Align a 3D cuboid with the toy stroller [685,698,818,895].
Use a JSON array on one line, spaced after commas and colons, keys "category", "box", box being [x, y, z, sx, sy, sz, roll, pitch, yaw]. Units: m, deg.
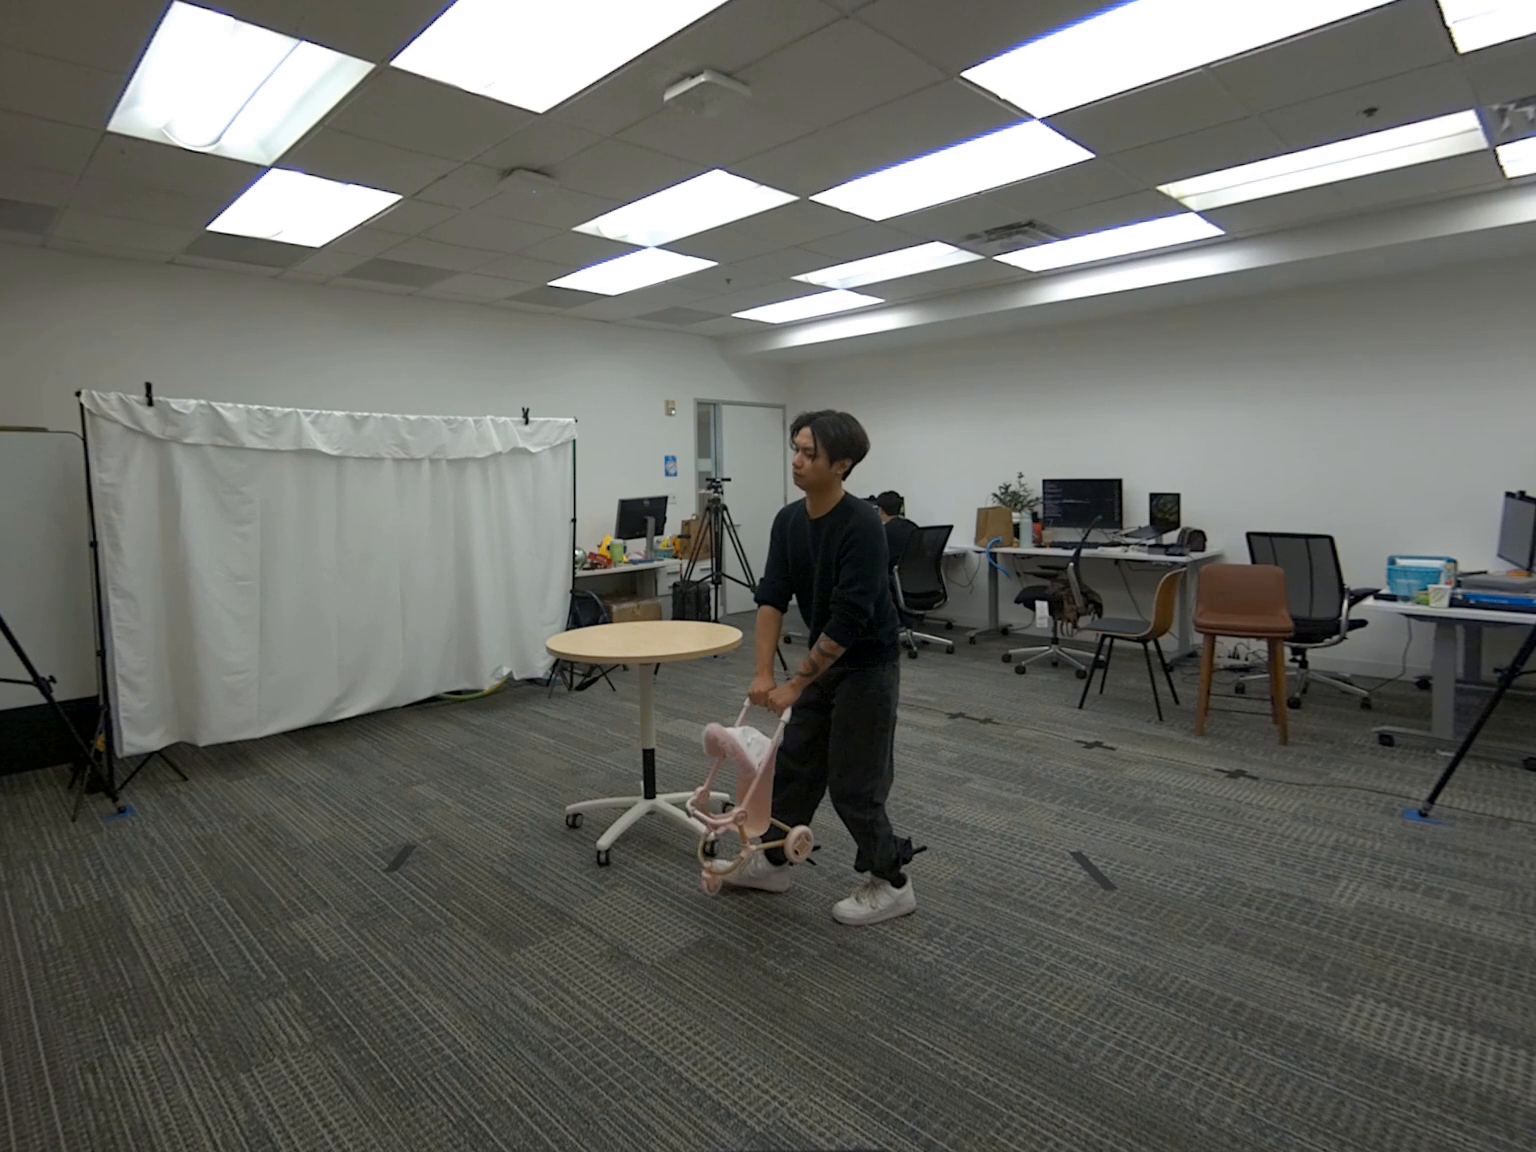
[{"category": "toy stroller", "box": [-0.078, 0.653, 2.558, 0.334, 0.529, 0.290, -11, 12, -31]}]
